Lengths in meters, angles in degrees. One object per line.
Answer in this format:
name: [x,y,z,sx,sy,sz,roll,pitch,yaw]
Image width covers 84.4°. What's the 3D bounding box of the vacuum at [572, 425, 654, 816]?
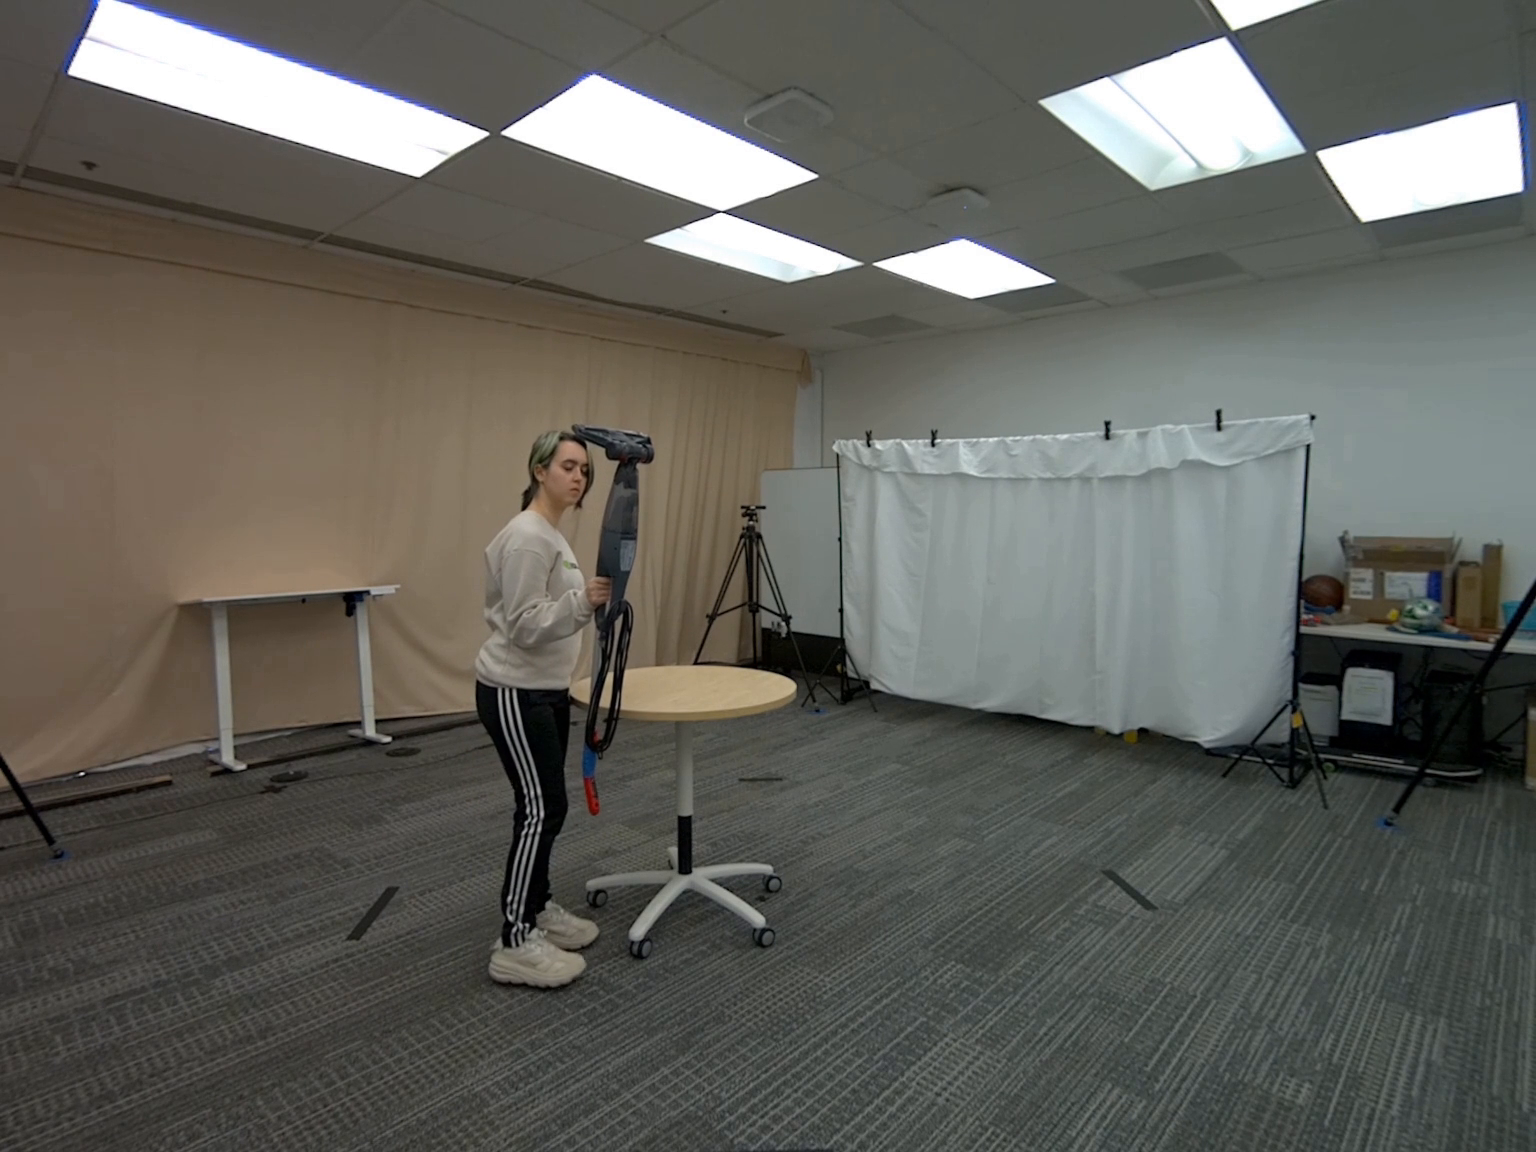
vacuum: [-0.434,0.140,2.328,0.244,1.047,0.149,0,4,-42]
